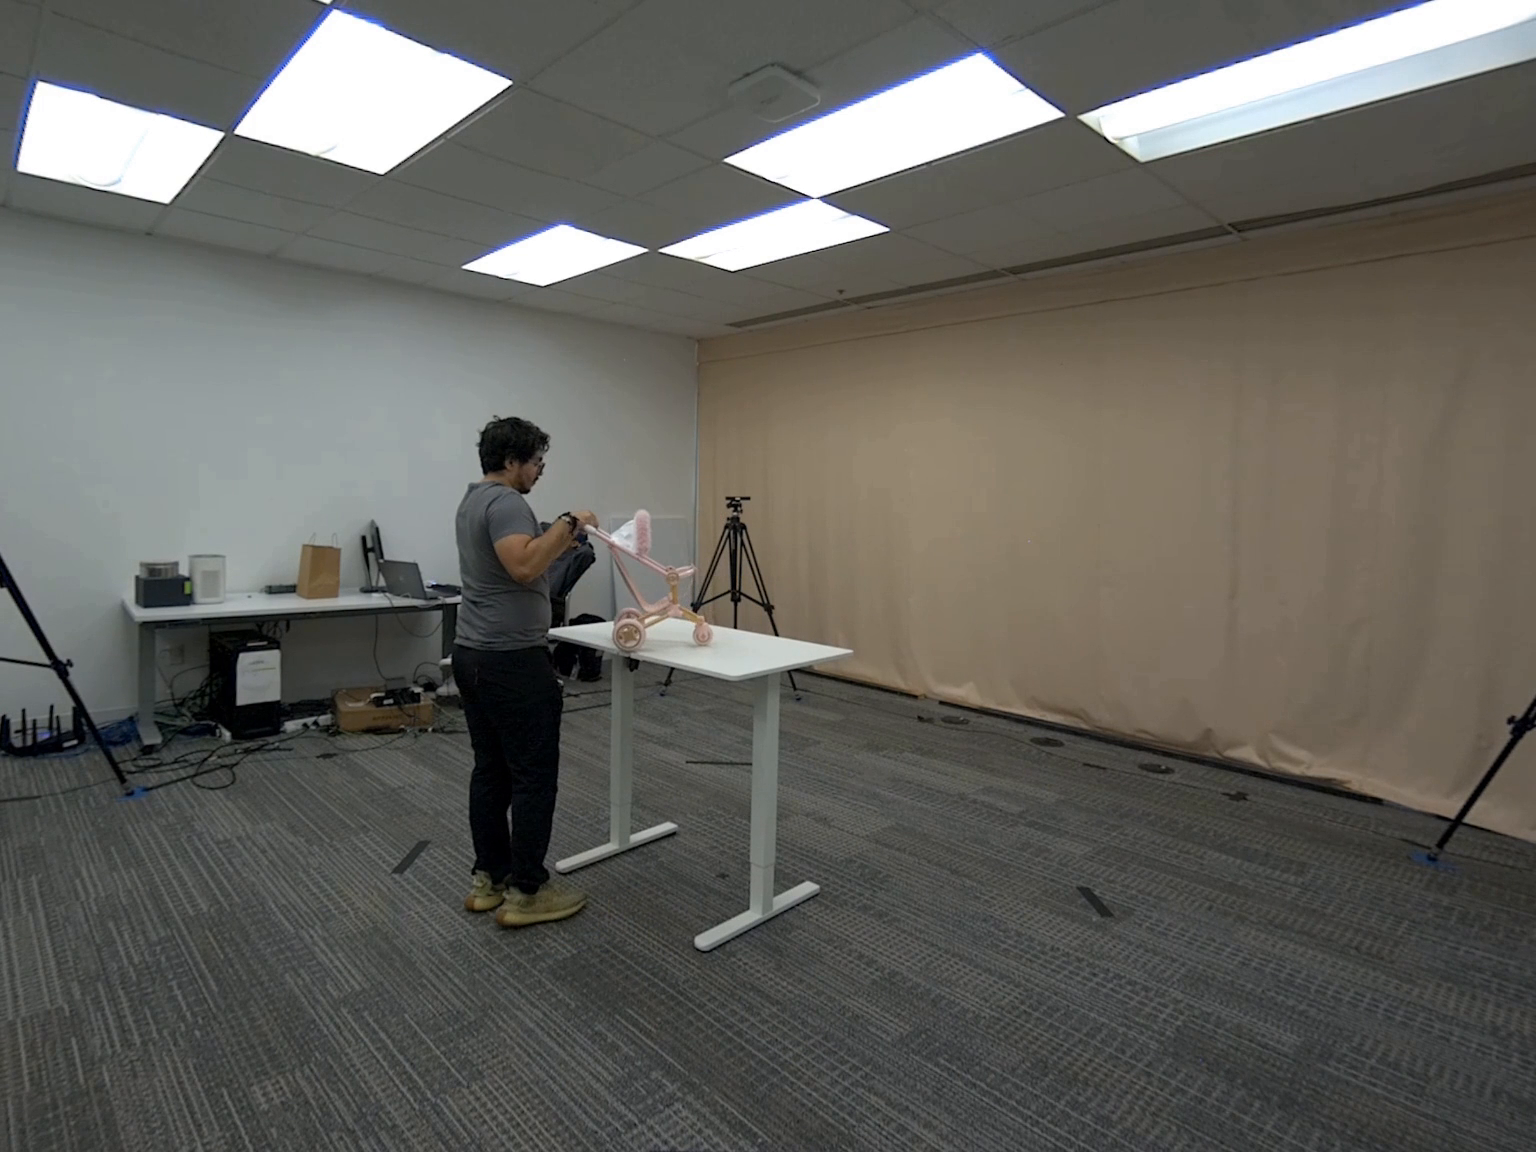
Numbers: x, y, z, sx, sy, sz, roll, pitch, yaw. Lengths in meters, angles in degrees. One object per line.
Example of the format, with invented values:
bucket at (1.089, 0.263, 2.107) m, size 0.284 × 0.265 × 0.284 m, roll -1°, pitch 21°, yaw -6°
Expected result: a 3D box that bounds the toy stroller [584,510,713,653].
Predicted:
toy stroller at (-0.405, 0.016, 2.866) m, size 0.341 × 0.532 × 0.283 m, roll -15°, pitch 5°, yaw -3°
